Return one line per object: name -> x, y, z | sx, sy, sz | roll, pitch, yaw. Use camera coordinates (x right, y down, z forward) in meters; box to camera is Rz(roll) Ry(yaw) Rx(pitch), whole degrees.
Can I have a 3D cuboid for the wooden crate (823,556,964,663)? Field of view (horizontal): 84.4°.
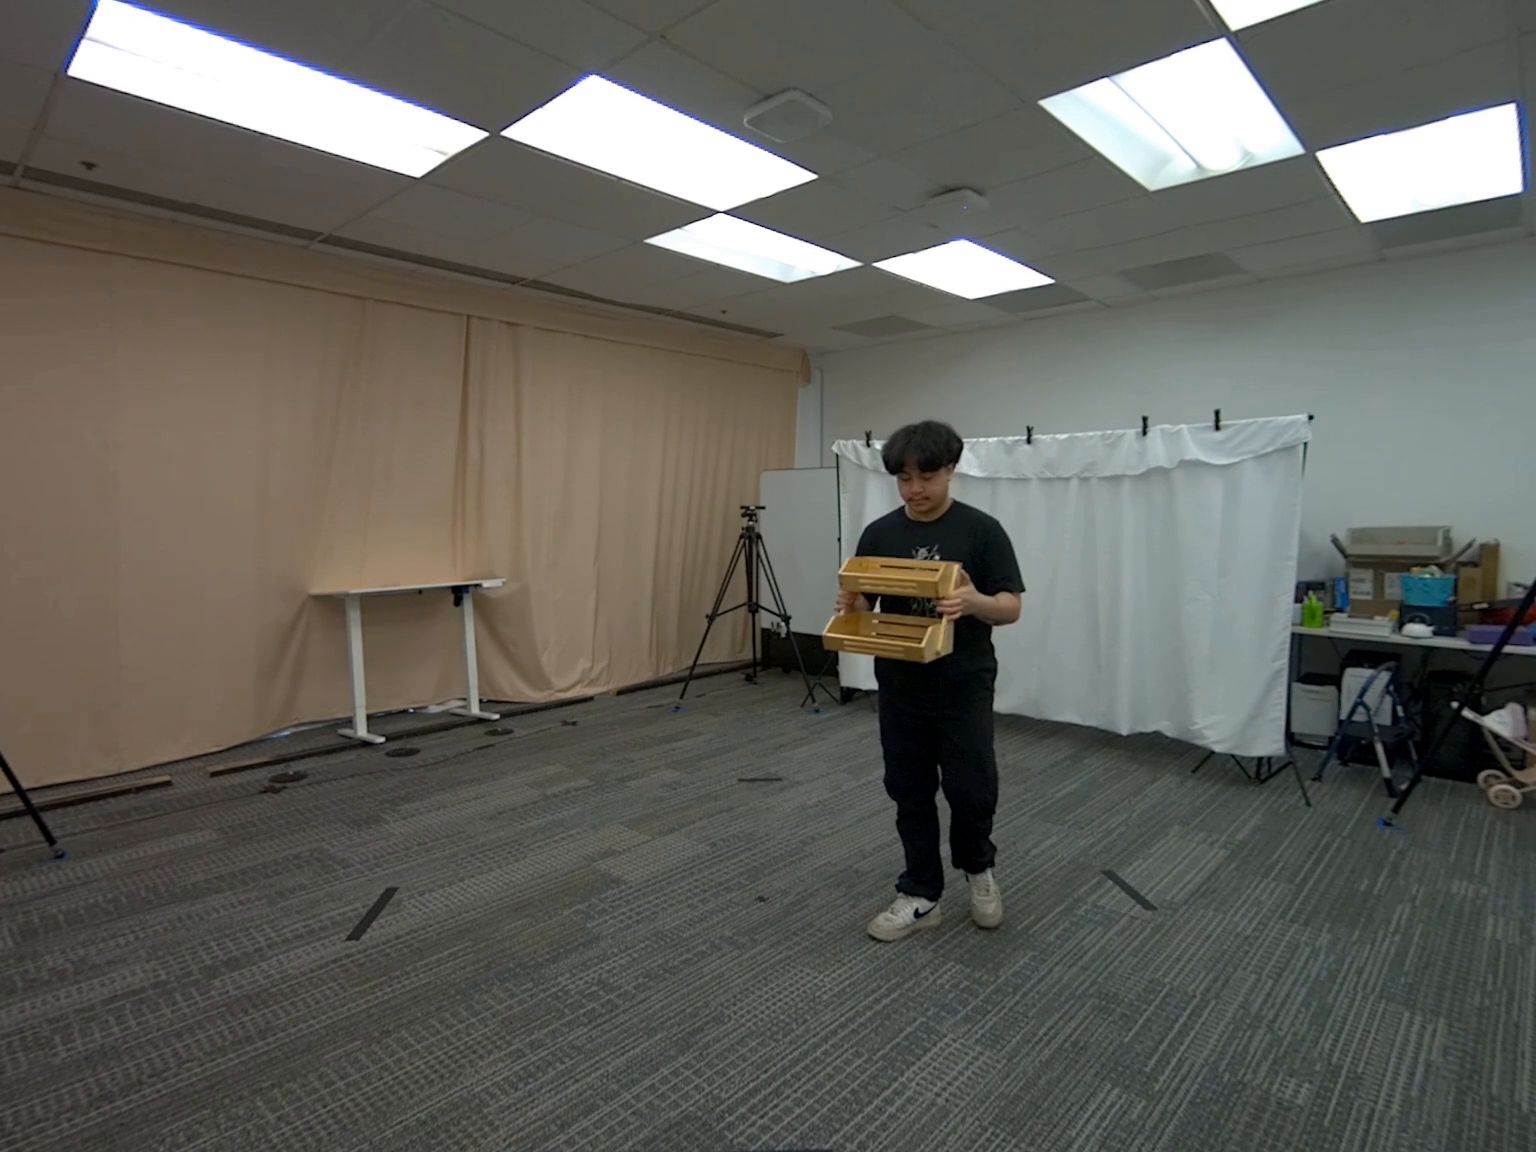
wooden crate -> 0.370, 0.079, 2.446 | 0.334, 0.273, 0.293 | 4, 3, 31
